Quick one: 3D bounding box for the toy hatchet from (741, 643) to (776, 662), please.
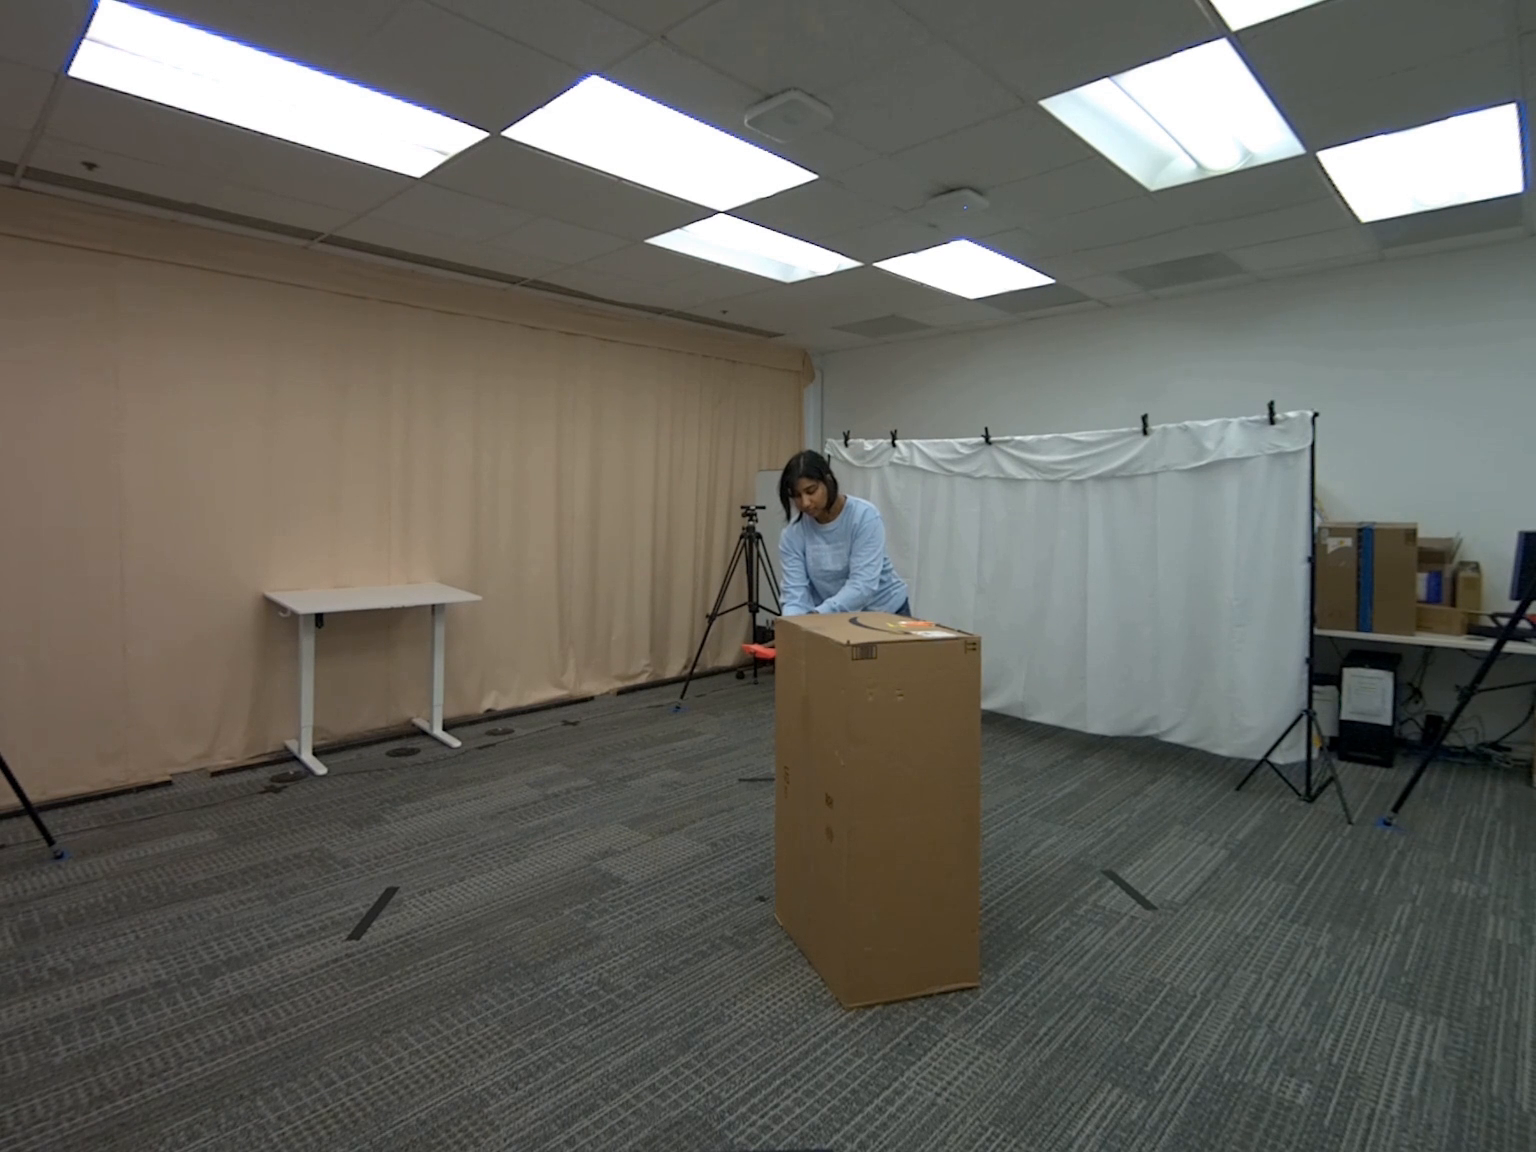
[{"bbox_3d":[0.057,0.253,2.926,0.262,0.029,0.136,-8,17,-38],"label":"toy hatchet"}]
